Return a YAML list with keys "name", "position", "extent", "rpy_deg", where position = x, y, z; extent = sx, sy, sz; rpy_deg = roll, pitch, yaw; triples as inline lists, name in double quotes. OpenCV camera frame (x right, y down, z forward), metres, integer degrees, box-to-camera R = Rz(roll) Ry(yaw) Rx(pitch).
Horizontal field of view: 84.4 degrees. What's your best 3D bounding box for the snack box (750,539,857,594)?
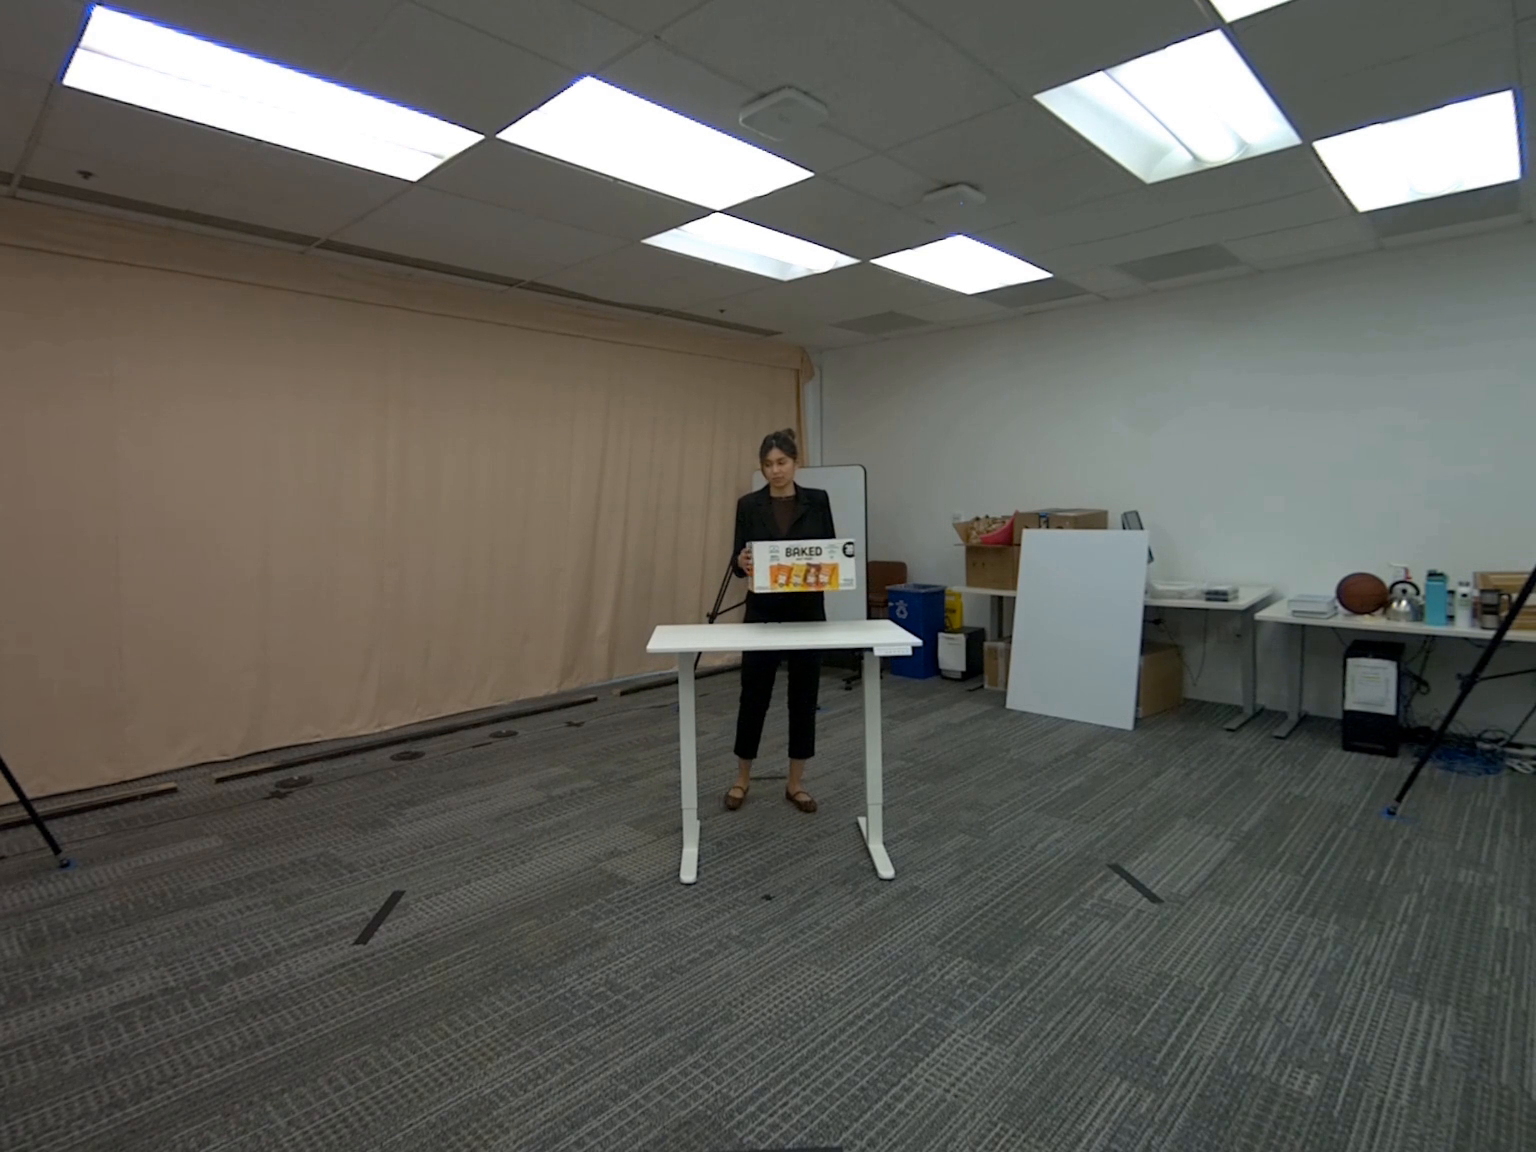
- name: "snack box"
  position: [0.119, -0.043, 3.506]
  extent: [0.404, 0.205, 0.342]
  rpy_deg: [-2, 2, -4]
